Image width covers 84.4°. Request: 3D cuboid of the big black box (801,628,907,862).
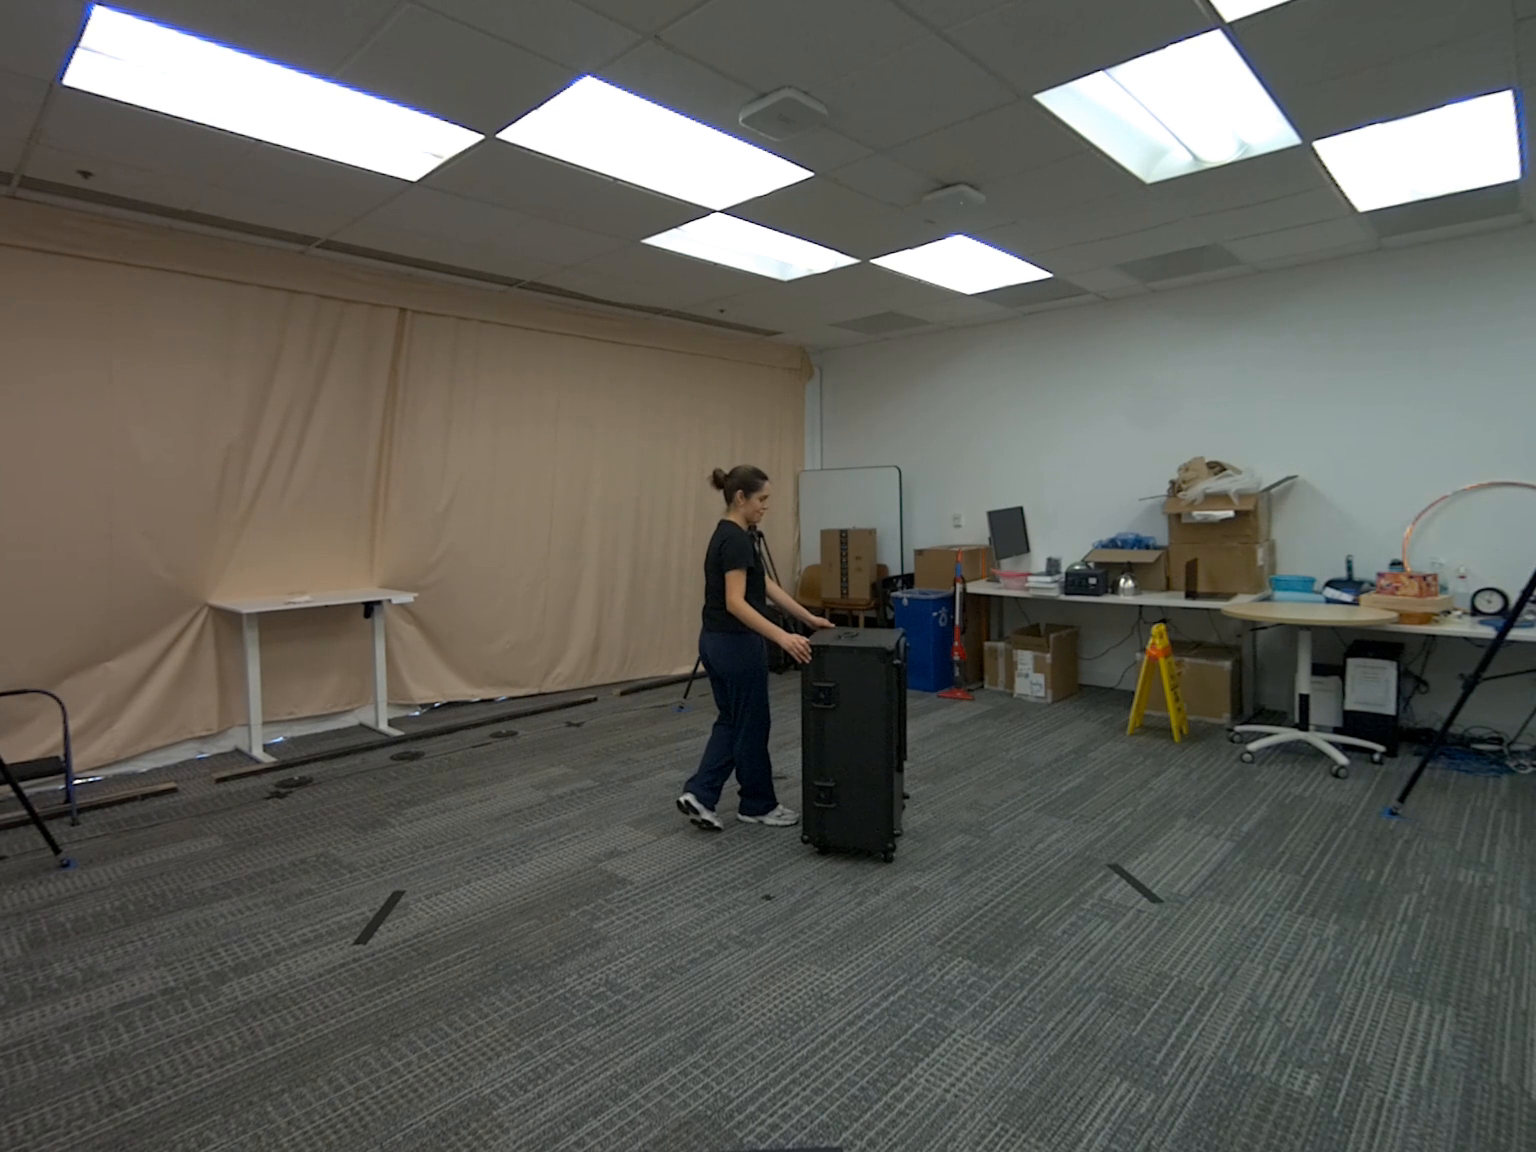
[{"bbox_3d":[0.383,0.667,3.438,0.403,0.860,0.513,1,3,16],"label":"big black box"}]
